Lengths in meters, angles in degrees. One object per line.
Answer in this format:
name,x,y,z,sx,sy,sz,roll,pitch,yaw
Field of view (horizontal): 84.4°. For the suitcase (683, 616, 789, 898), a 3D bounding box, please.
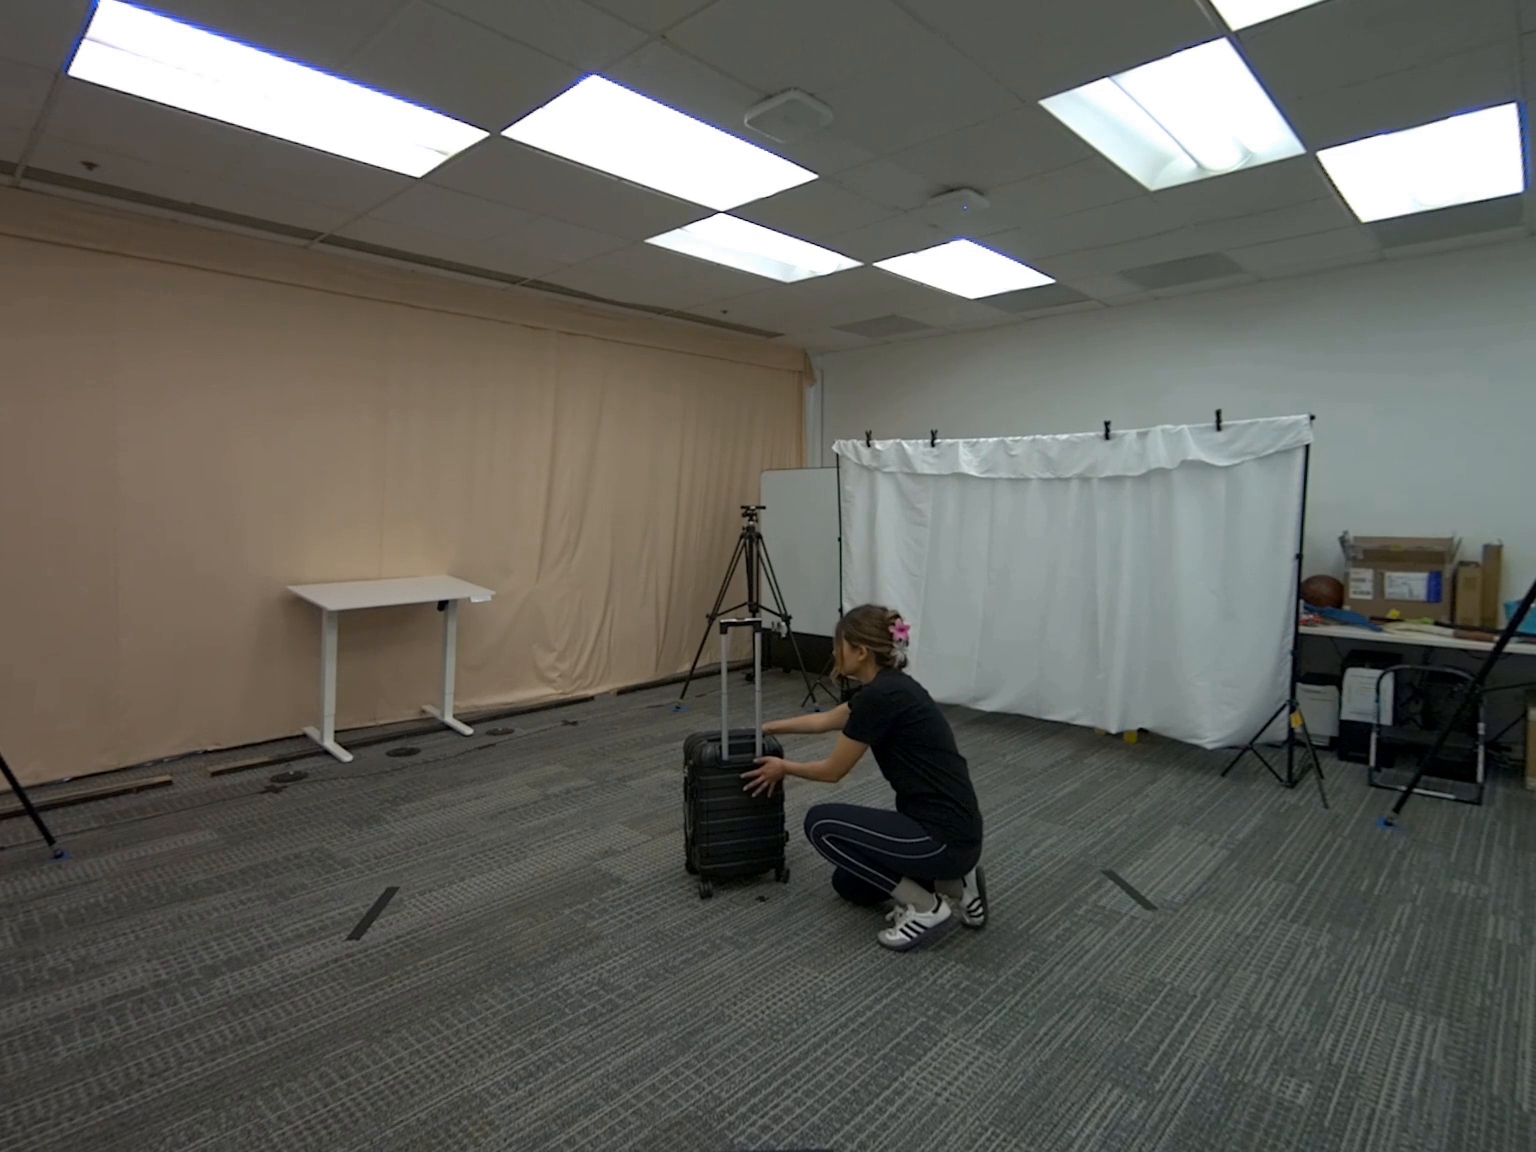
suitcase,-0.130,0.657,3.143,0.378,0.978,0.261,-1,1,-15
